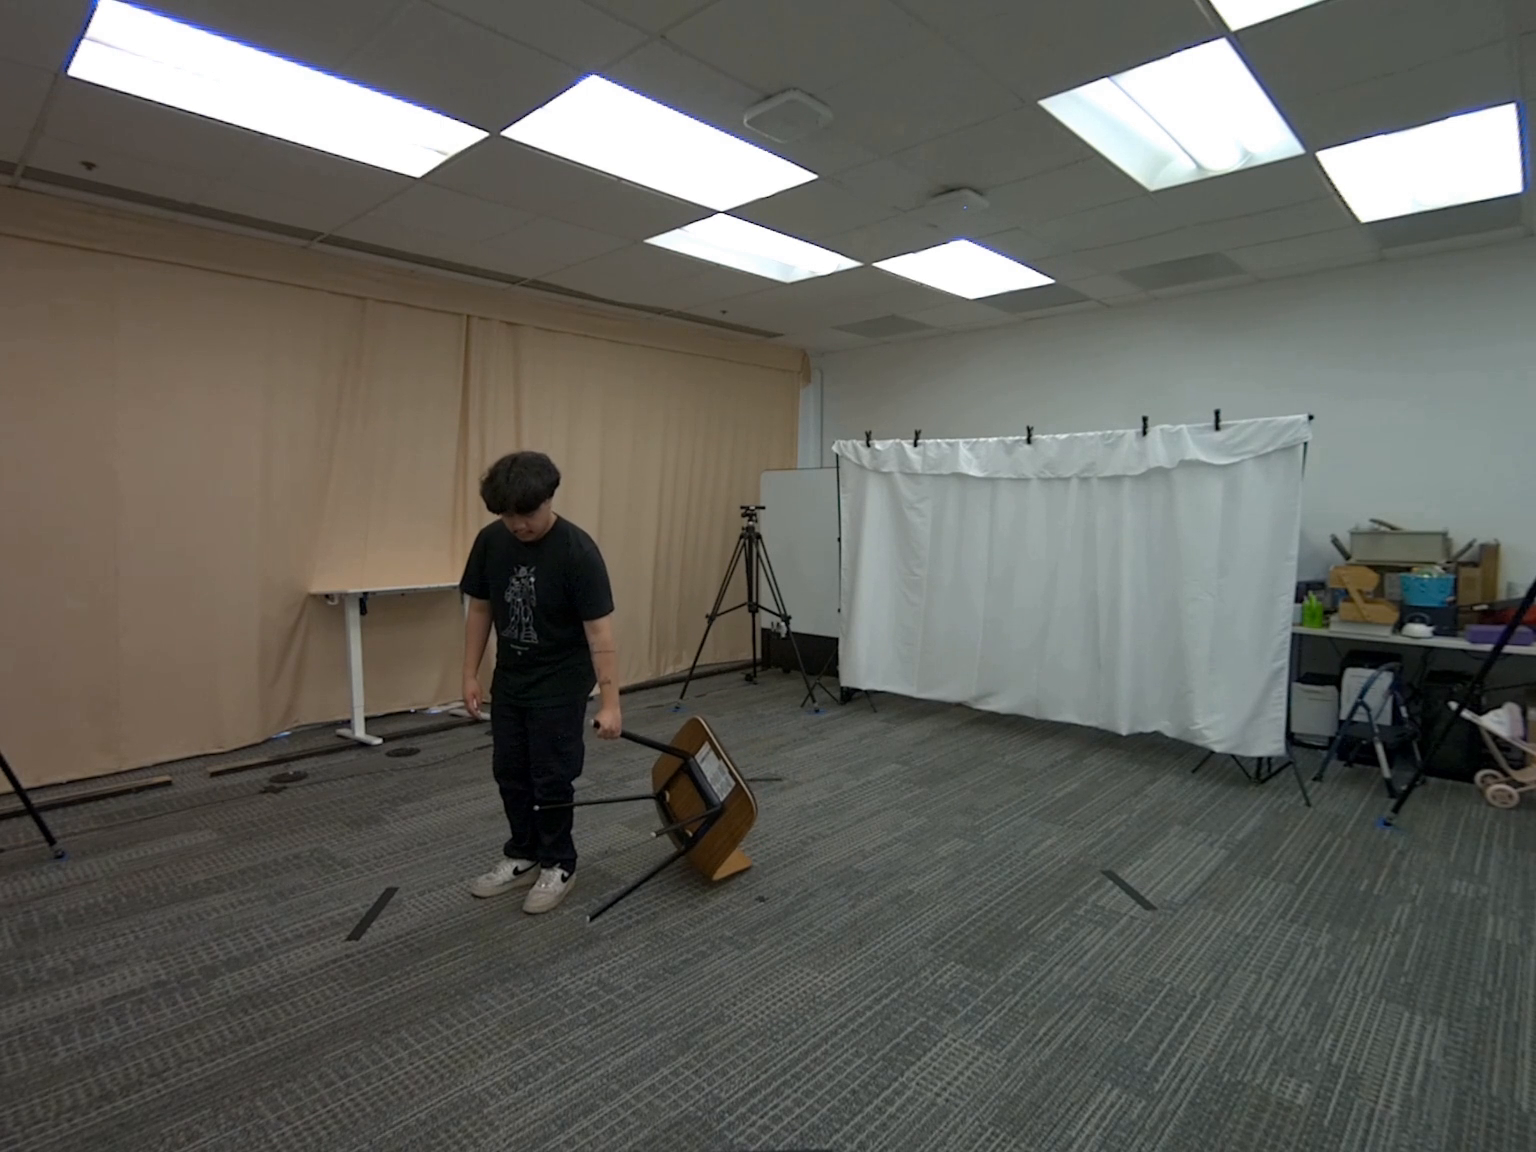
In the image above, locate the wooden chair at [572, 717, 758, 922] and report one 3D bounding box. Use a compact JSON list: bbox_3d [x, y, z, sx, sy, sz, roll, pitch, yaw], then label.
[{"bbox_3d":[-0.289,0.818,3.012,0.847,0.524,0.494,10,33,-50],"label":"wooden chair"}]
